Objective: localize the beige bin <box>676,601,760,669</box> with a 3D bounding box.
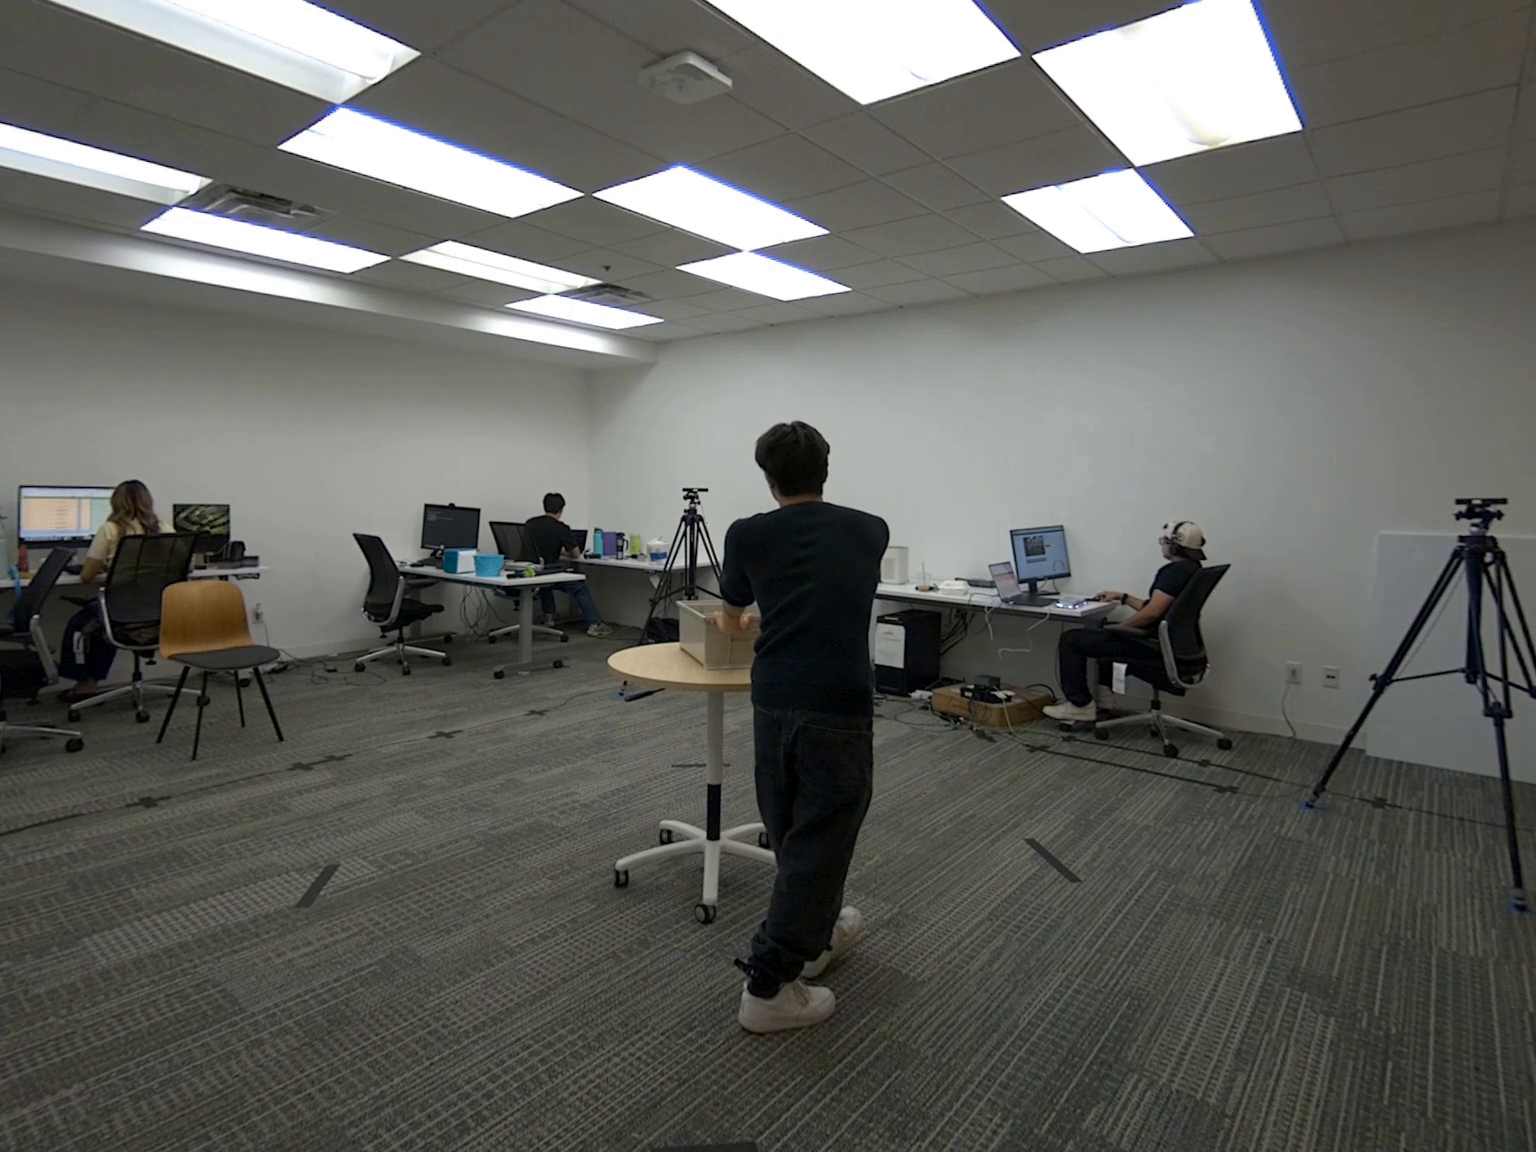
[{"bbox_3d":[-0.109,0.201,3.075,0.371,0.188,0.431,-2,6,-17],"label":"beige bin"}]
